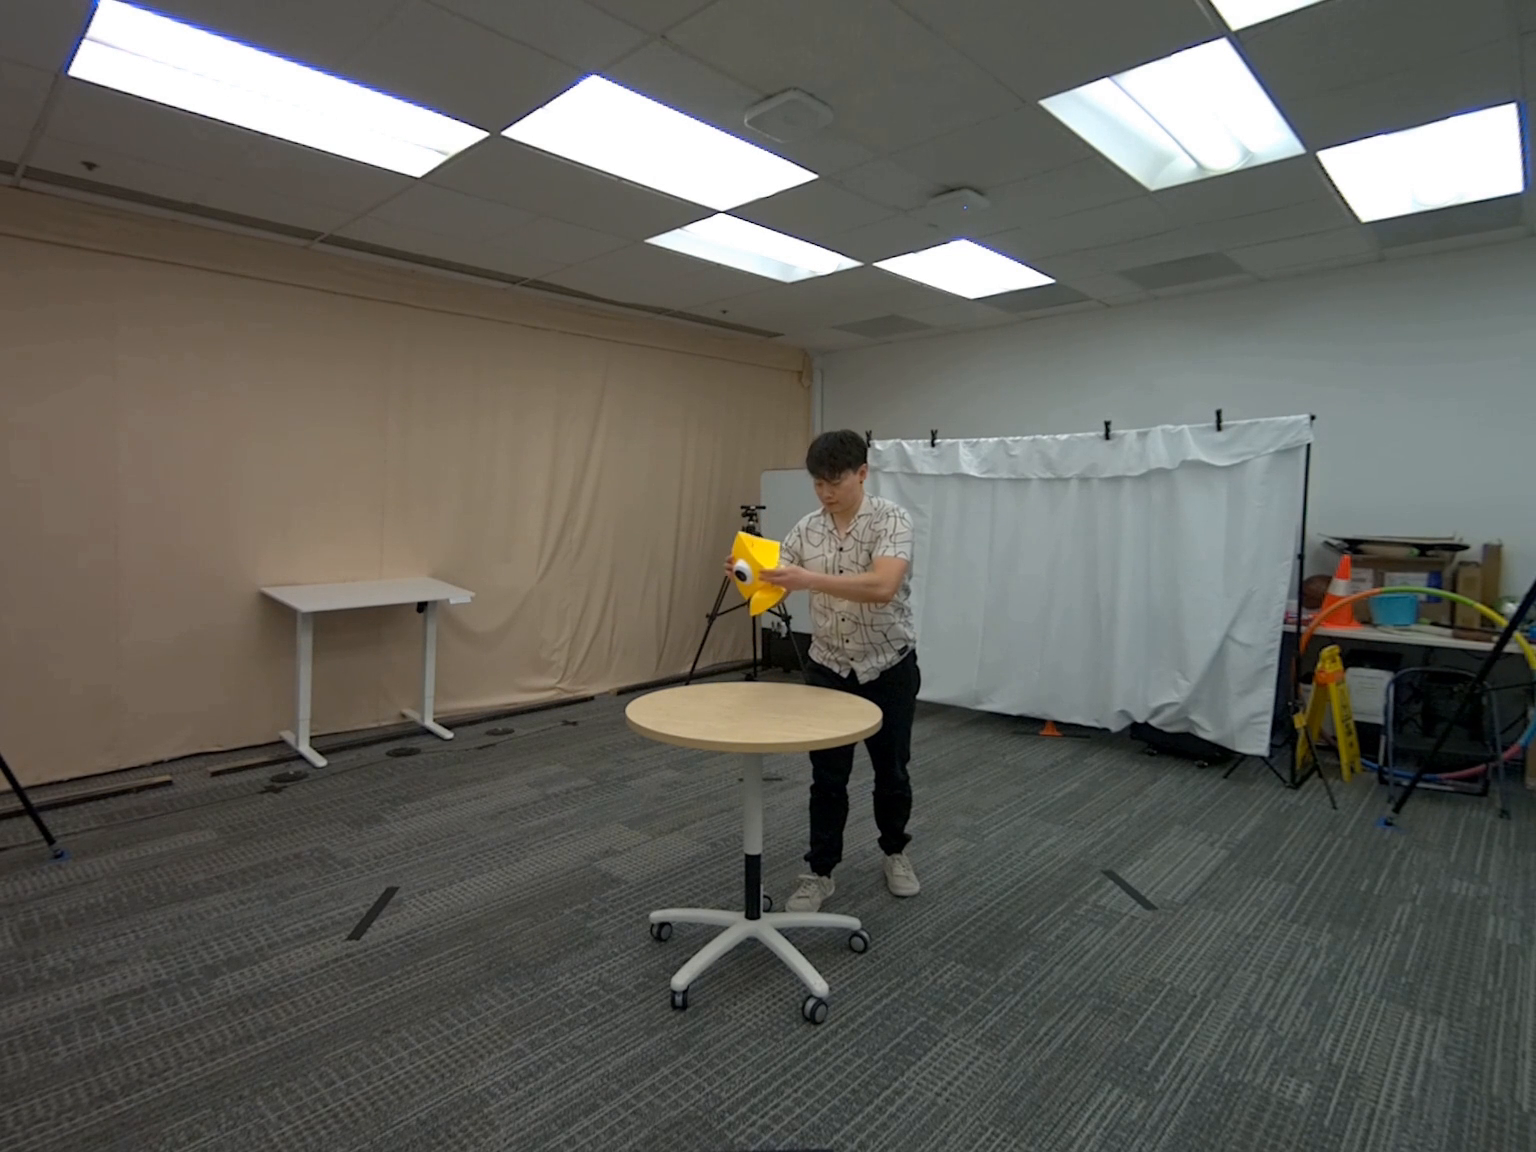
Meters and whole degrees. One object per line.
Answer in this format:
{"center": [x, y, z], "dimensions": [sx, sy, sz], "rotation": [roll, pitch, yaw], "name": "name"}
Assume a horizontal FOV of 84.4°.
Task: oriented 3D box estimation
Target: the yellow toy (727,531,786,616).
{"center": [-0.049, -0.031, 2.713], "dimensions": [0.195, 0.226, 0.206], "rotation": [-37, 20, 26], "name": "yellow toy"}
